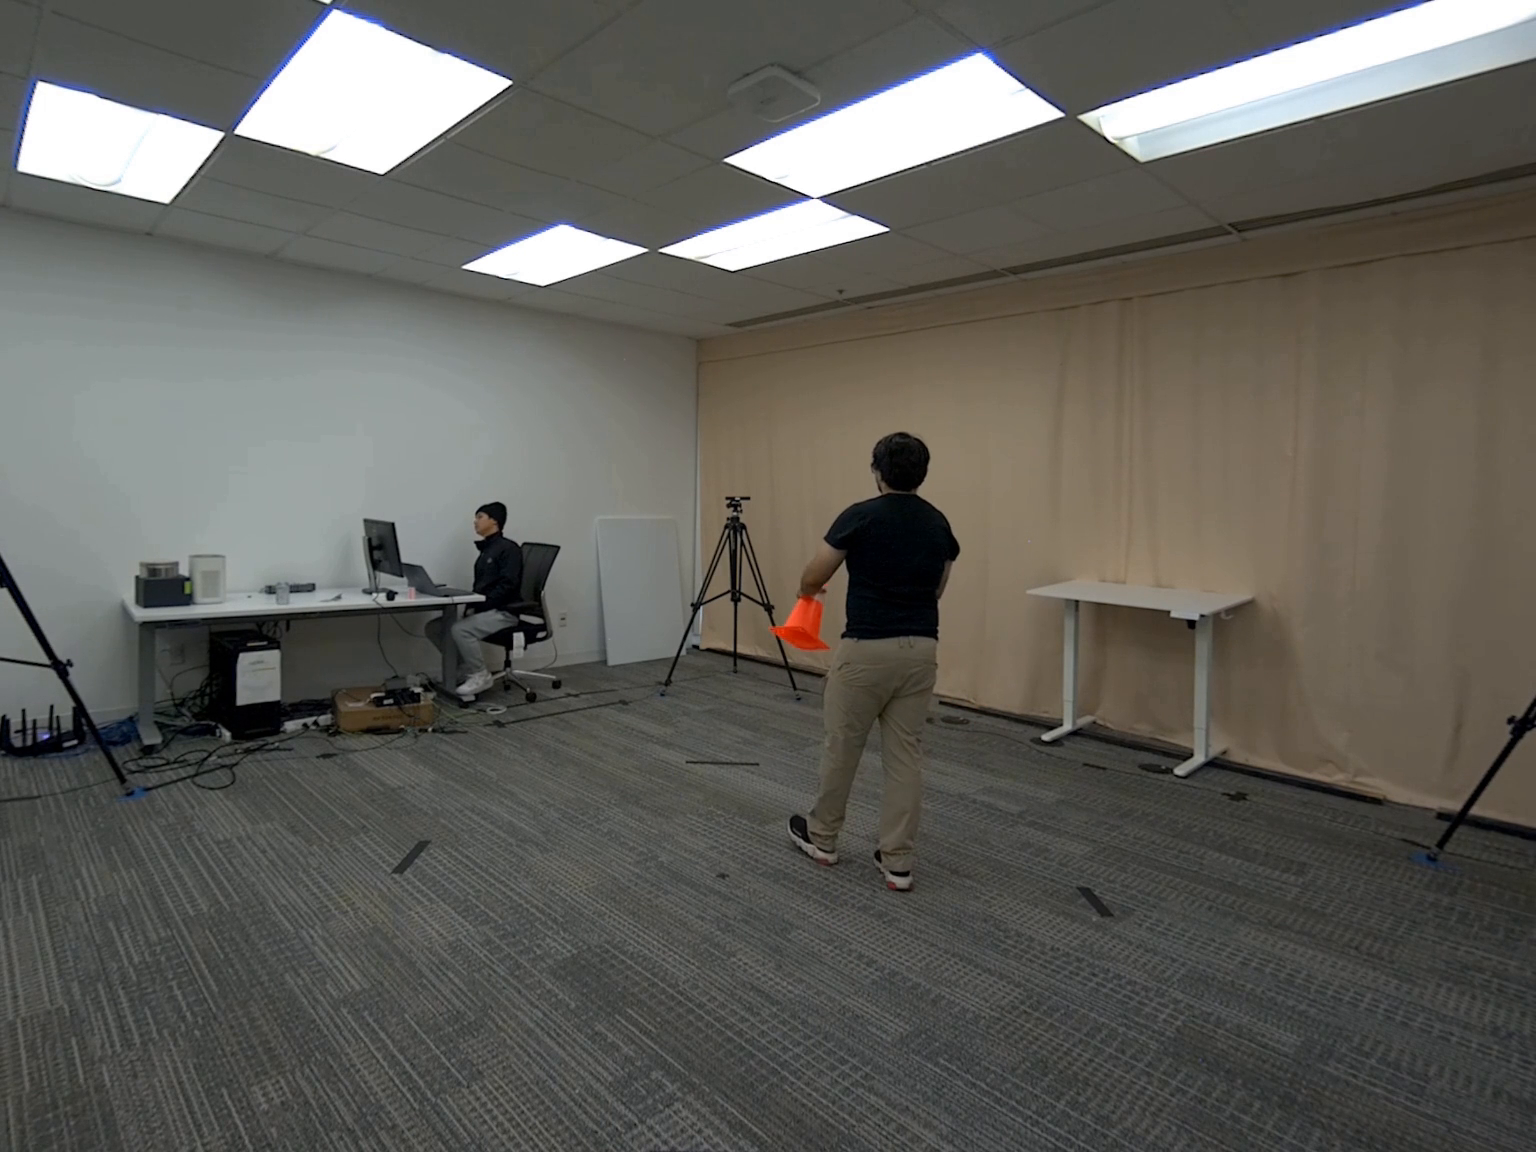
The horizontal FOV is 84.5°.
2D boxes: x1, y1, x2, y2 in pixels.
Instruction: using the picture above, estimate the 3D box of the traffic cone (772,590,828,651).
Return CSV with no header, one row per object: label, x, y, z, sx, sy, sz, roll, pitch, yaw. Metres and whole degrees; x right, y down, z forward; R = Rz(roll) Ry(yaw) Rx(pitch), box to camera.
traffic cone,0.181,0.105,3.517,0.198,0.387,0.208,36,-29,-26
